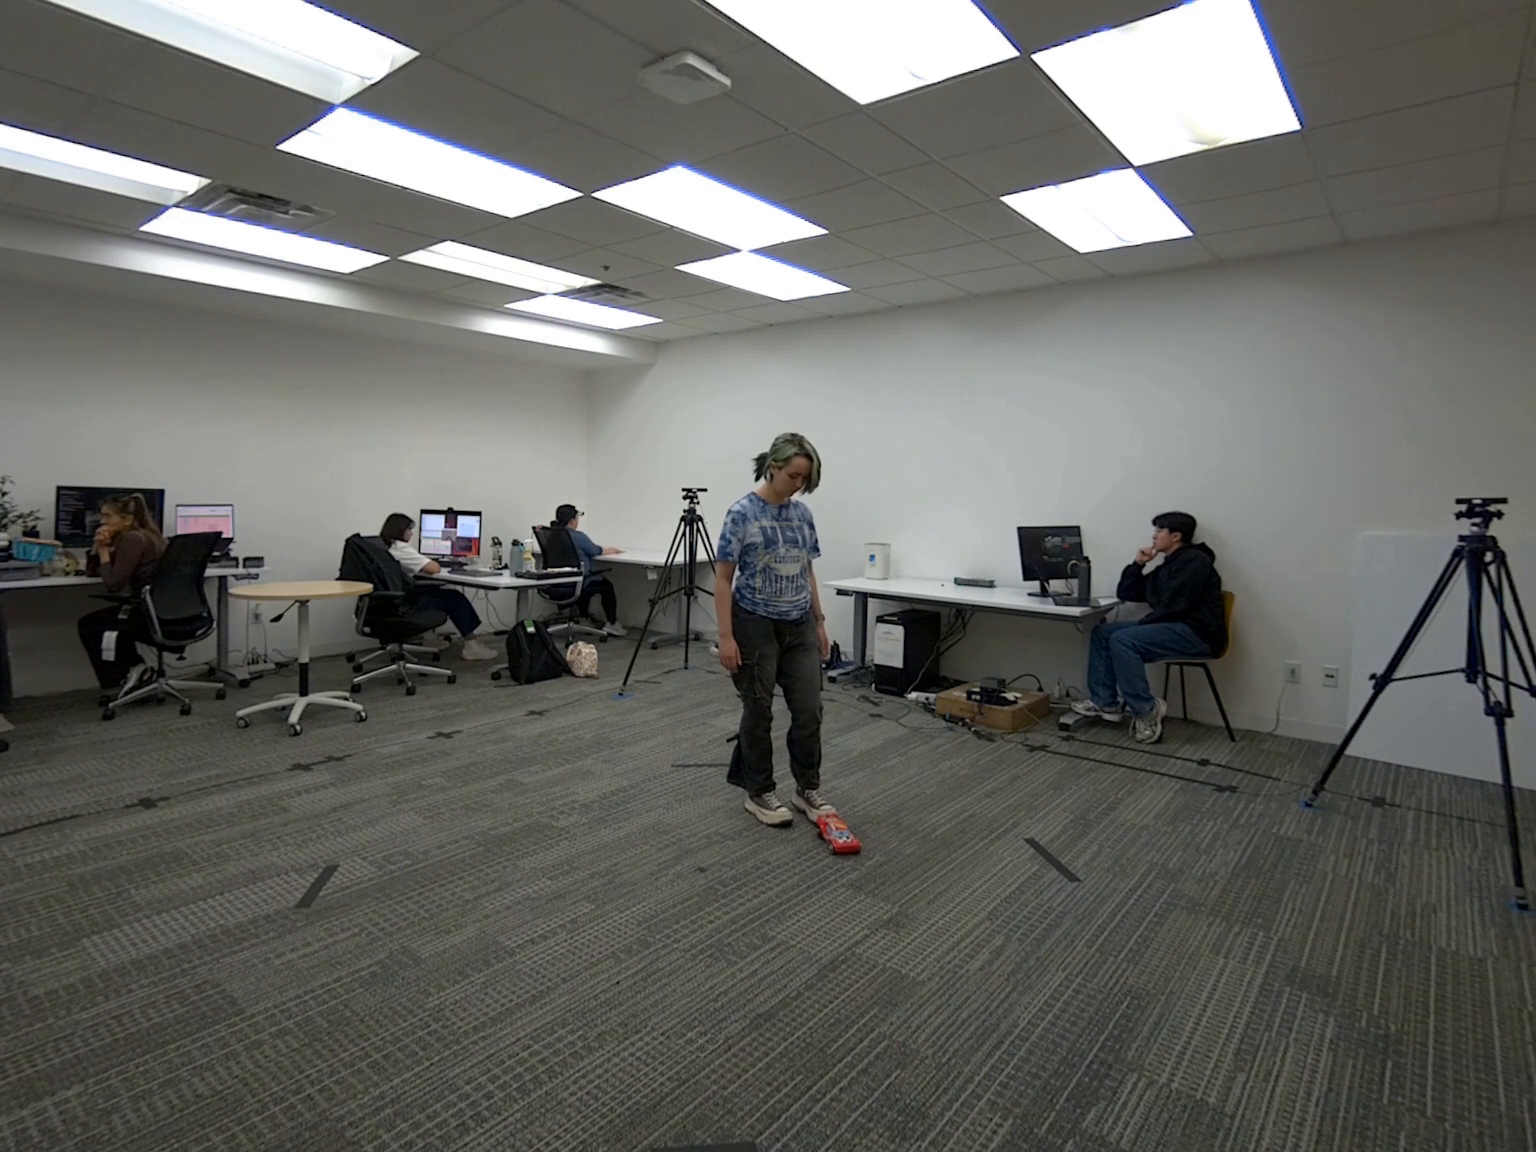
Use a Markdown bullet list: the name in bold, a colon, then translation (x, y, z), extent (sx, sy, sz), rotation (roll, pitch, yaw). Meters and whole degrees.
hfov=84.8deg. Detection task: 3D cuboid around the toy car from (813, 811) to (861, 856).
- **toy car**: translation (0.268, 1.019, 3.369), extent (0.128, 0.082, 0.262), rotation (-2, 20, -14)
